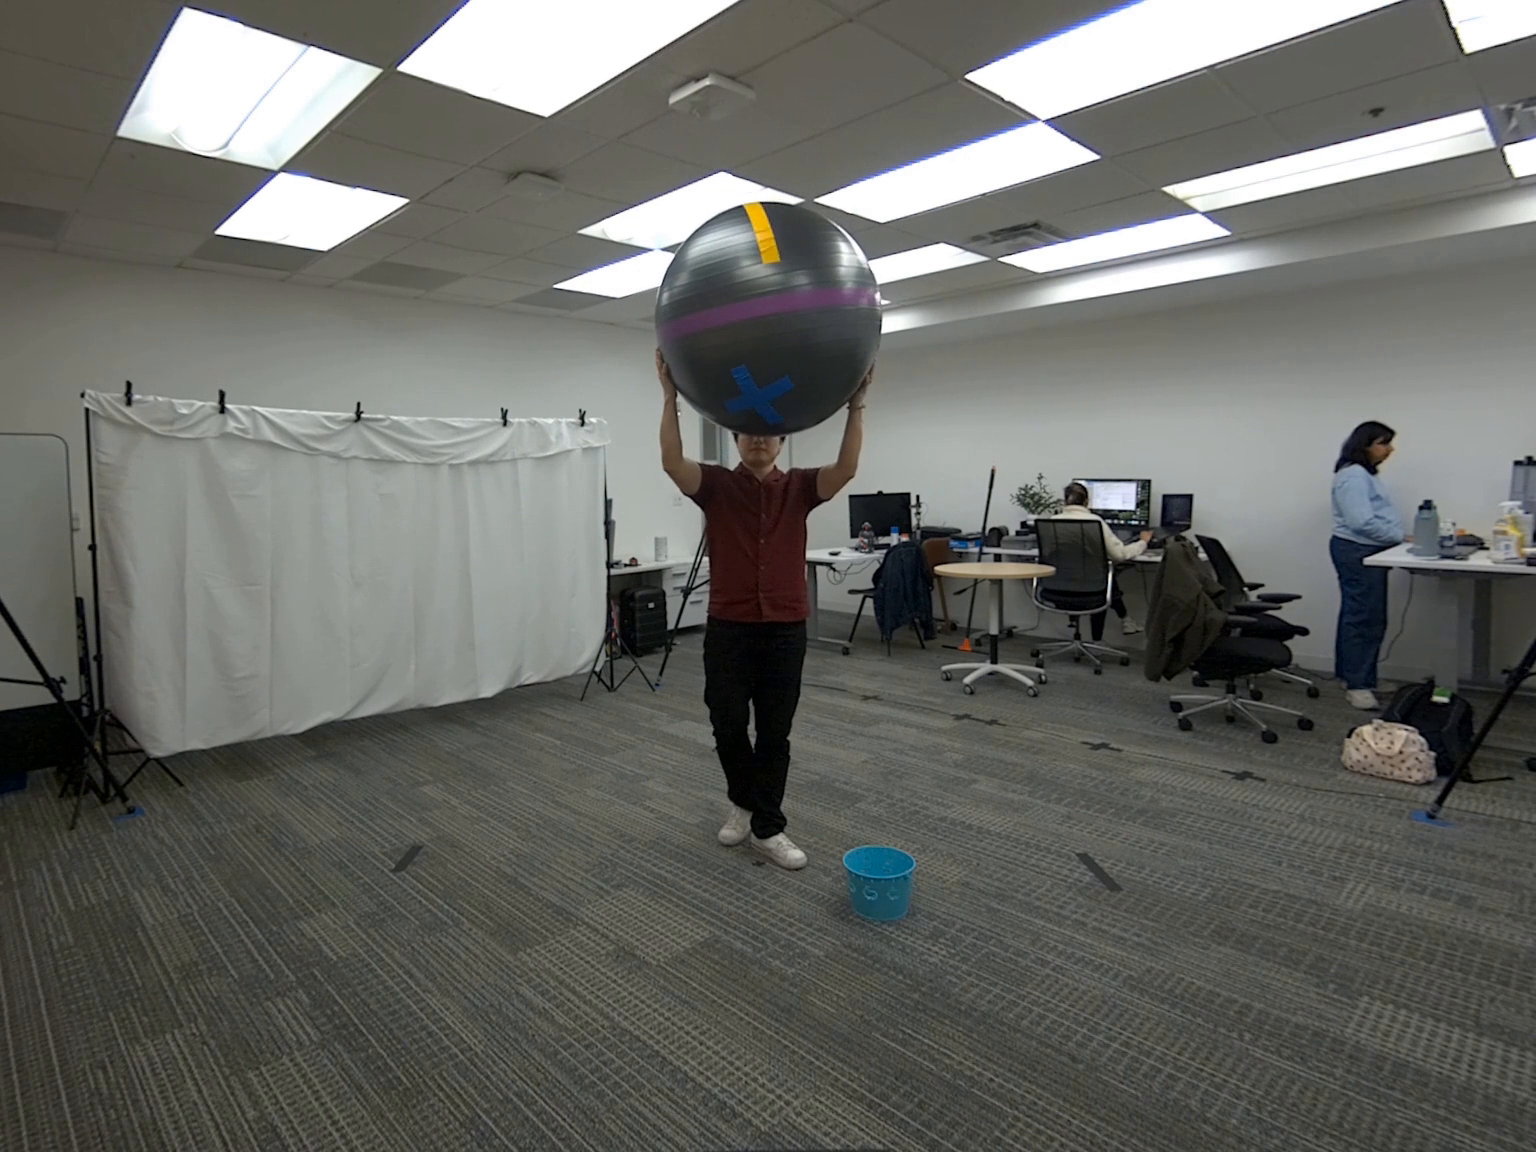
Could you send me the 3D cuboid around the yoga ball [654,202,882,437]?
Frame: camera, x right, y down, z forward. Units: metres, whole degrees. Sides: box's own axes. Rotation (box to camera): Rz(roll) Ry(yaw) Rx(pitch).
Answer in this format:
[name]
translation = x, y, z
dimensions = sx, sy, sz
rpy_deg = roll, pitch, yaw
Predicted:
[yoga ball]
translation = -0.003, -0.845, 2.862
dimensions = 0.757, 0.755, 0.762
rpy_deg = -1, 5, -2
